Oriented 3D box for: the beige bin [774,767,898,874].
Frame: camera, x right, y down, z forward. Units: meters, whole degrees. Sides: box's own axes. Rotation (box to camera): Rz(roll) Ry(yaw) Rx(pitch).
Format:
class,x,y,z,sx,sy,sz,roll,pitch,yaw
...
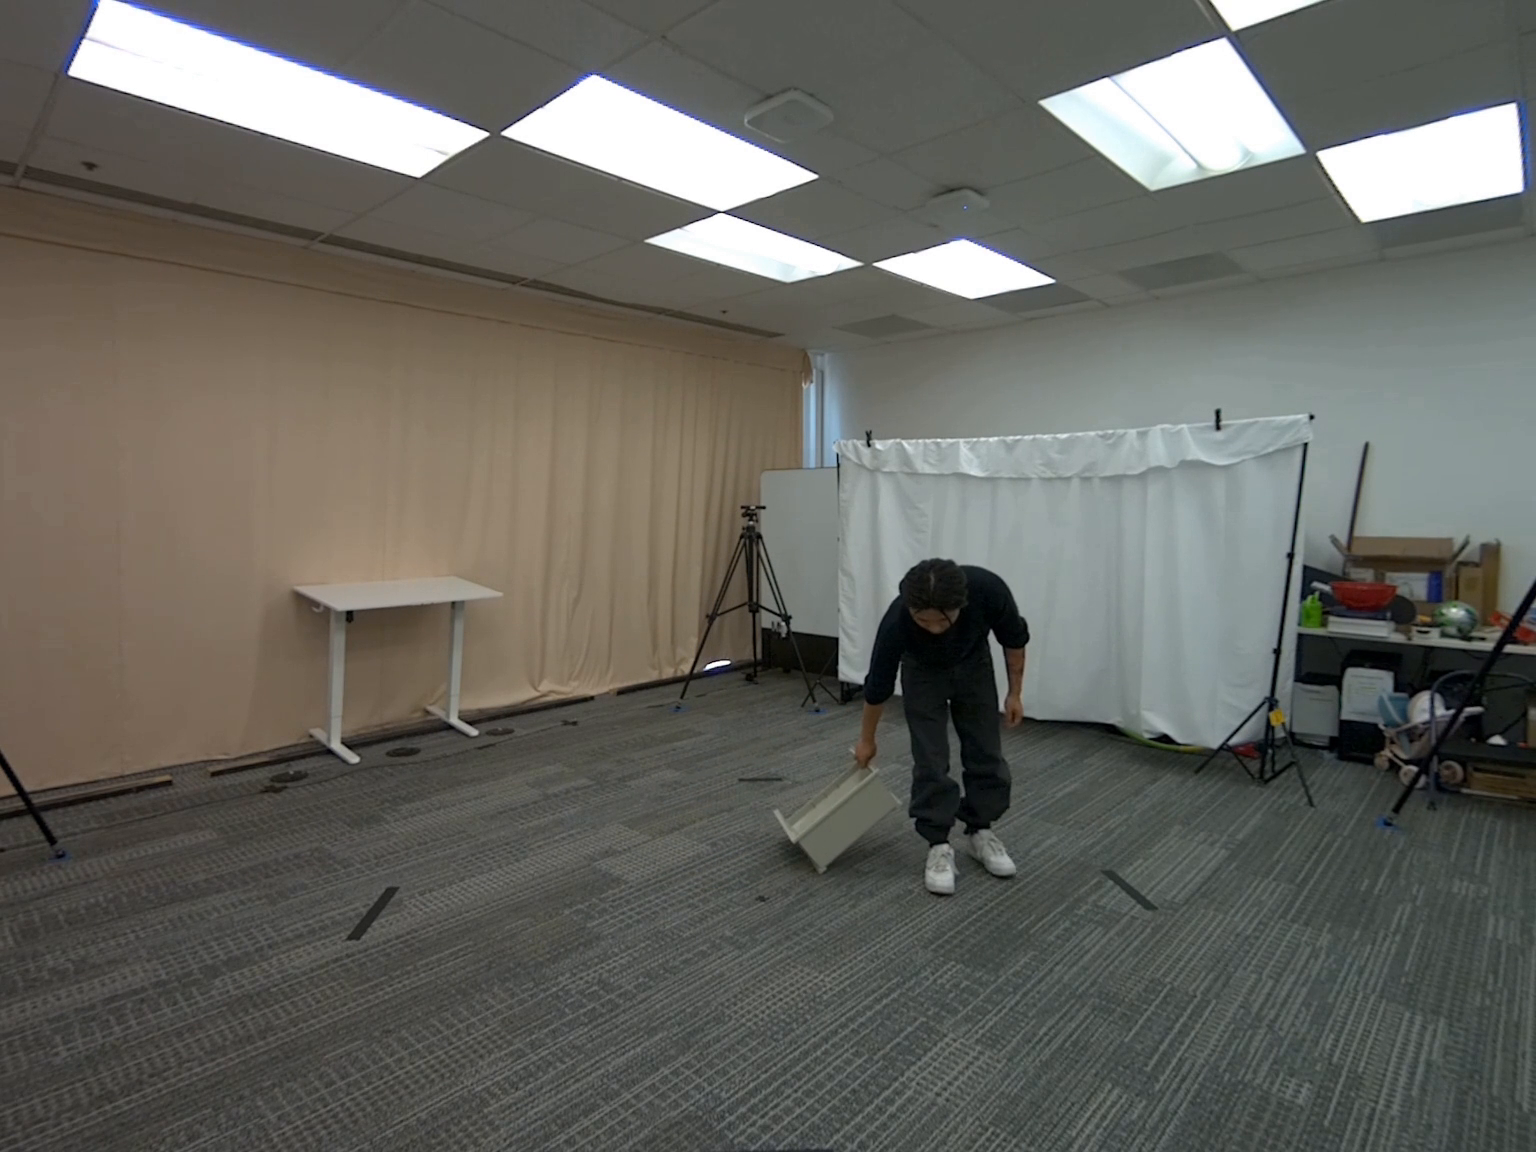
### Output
class,x,y,z,sx,sy,sz,roll,pitch,yaw
beige bin,0.268,0.916,3.349,0.421,0.187,0.383,-38,12,-6
